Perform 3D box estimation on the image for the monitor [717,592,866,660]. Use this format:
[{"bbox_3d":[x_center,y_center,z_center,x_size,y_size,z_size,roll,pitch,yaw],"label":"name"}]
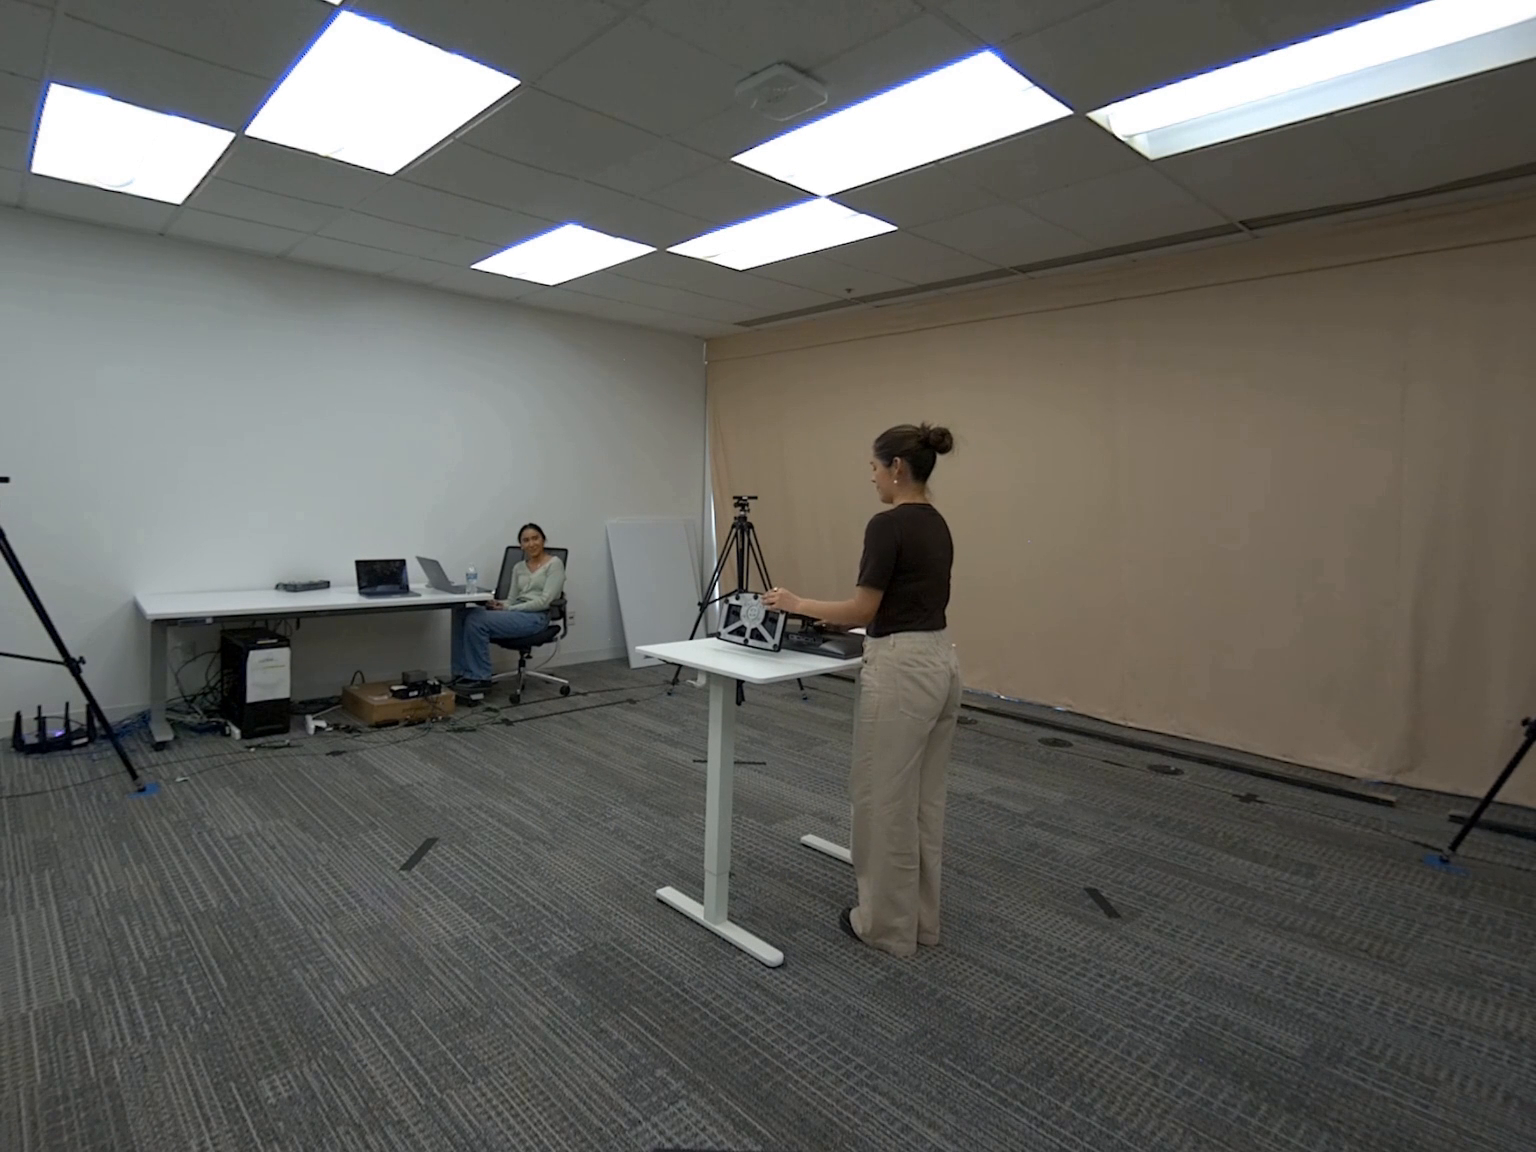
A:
[{"bbox_3d":[0.090,0.188,2.934,0.553,0.187,0.507,9,-4,42],"label":"monitor"}]
